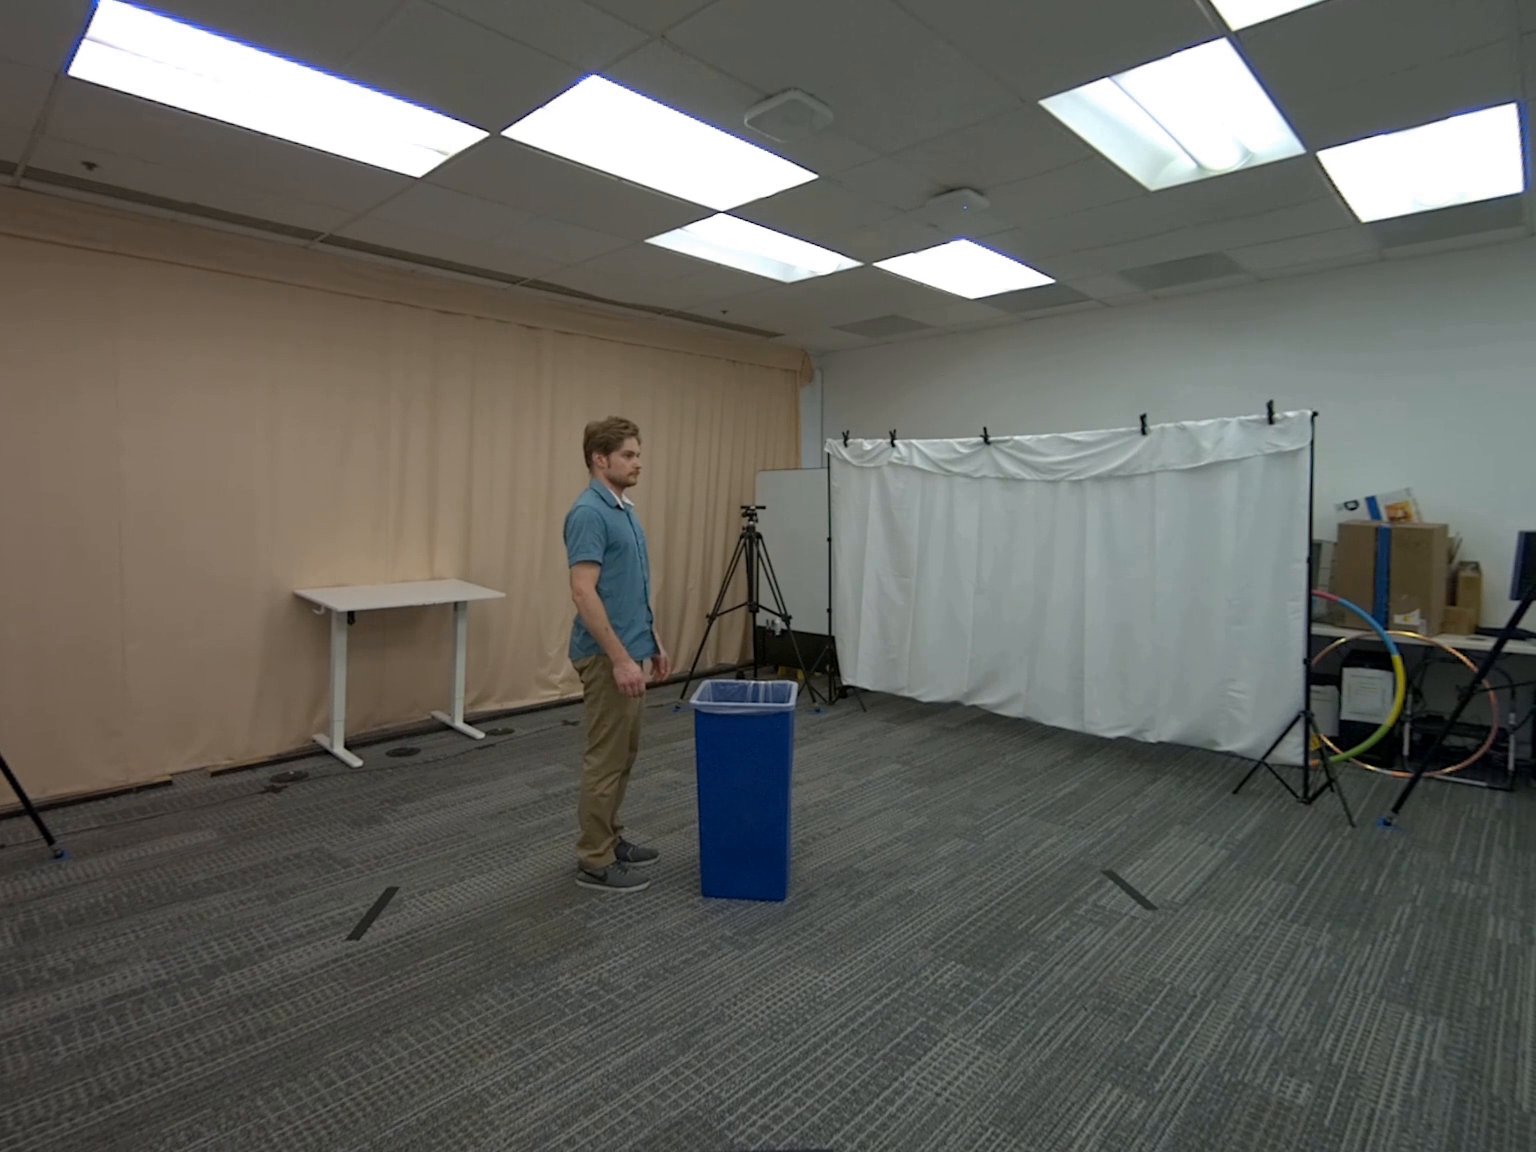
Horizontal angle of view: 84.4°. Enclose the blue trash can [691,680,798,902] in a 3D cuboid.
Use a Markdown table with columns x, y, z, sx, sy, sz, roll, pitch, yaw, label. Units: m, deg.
| x | y | z | sx | sy | sz | roll | pitch | yaw | label |
| --- | --- | --- | --- | --- | --- | --- | --- | --- | --- |
| -0.086 | 0.776 | 3.094 | 0.377 | 0.712 | 0.376 | 1 | 4 | 5 | blue trash can |
